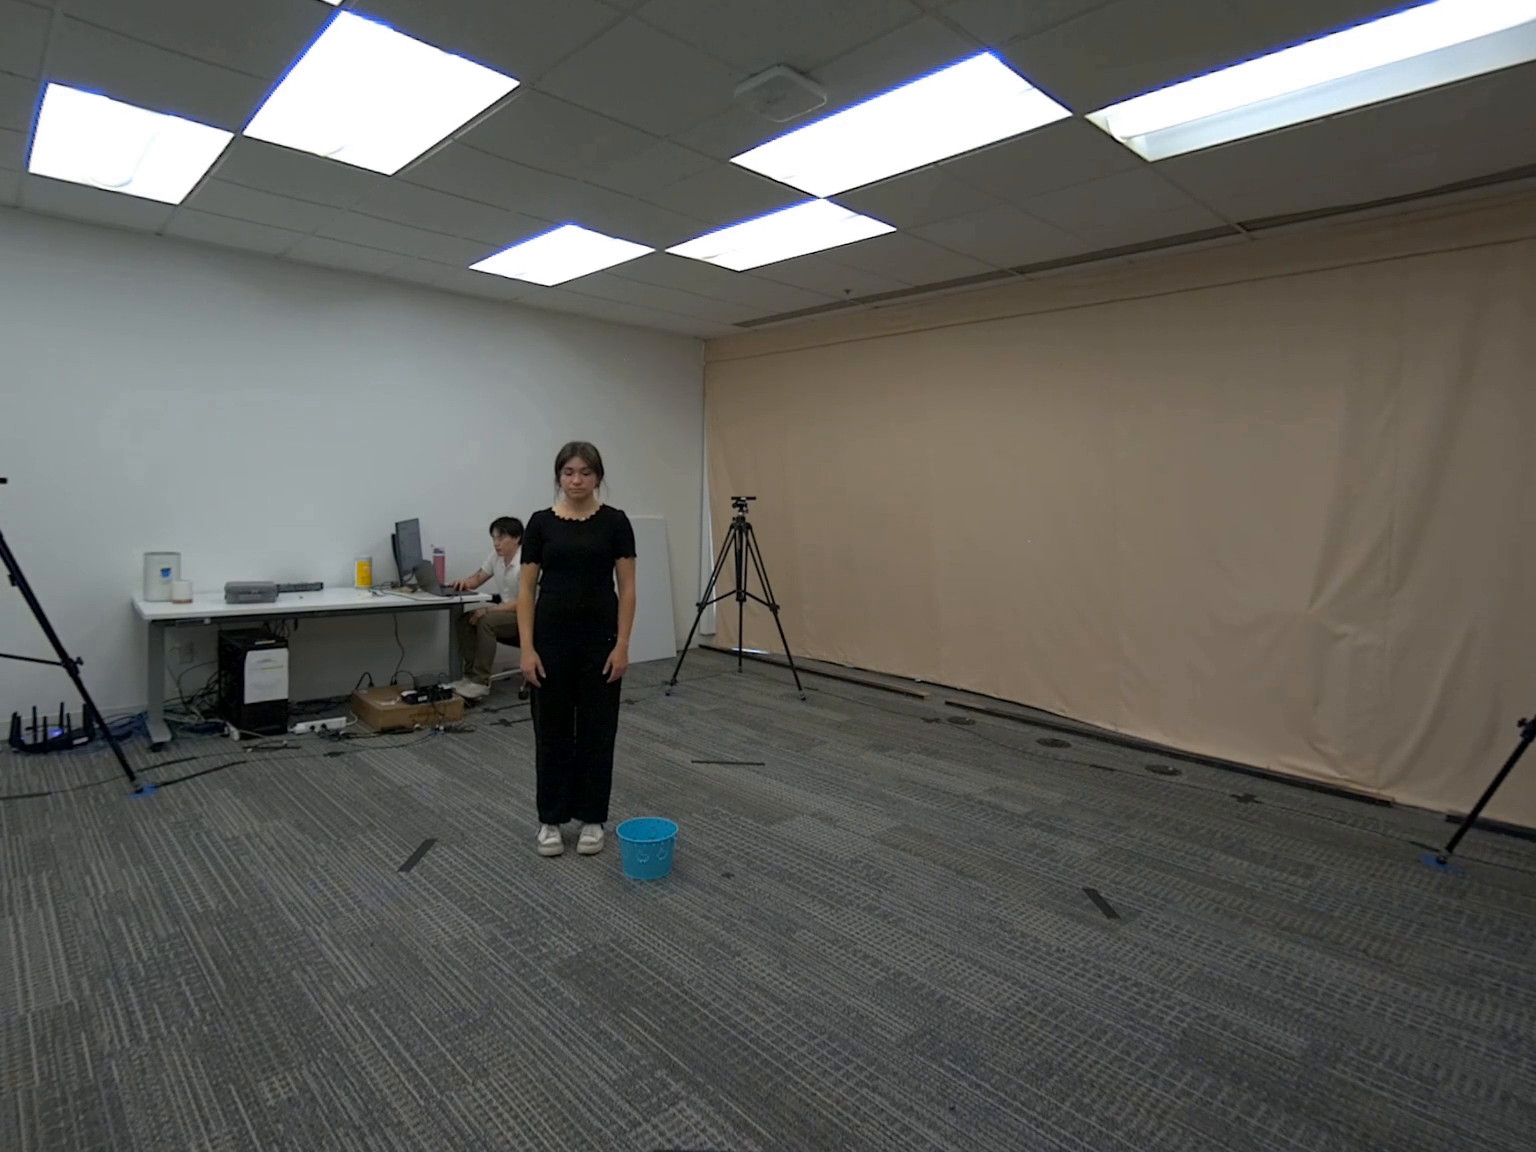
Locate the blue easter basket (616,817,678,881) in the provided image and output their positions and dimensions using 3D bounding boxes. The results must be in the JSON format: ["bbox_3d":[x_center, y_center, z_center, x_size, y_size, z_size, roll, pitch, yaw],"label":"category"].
[{"bbox_3d":[-0.453,1.015,3.142,0.243,0.155,0.244,1,5,-1],"label":"blue easter basket"}]
